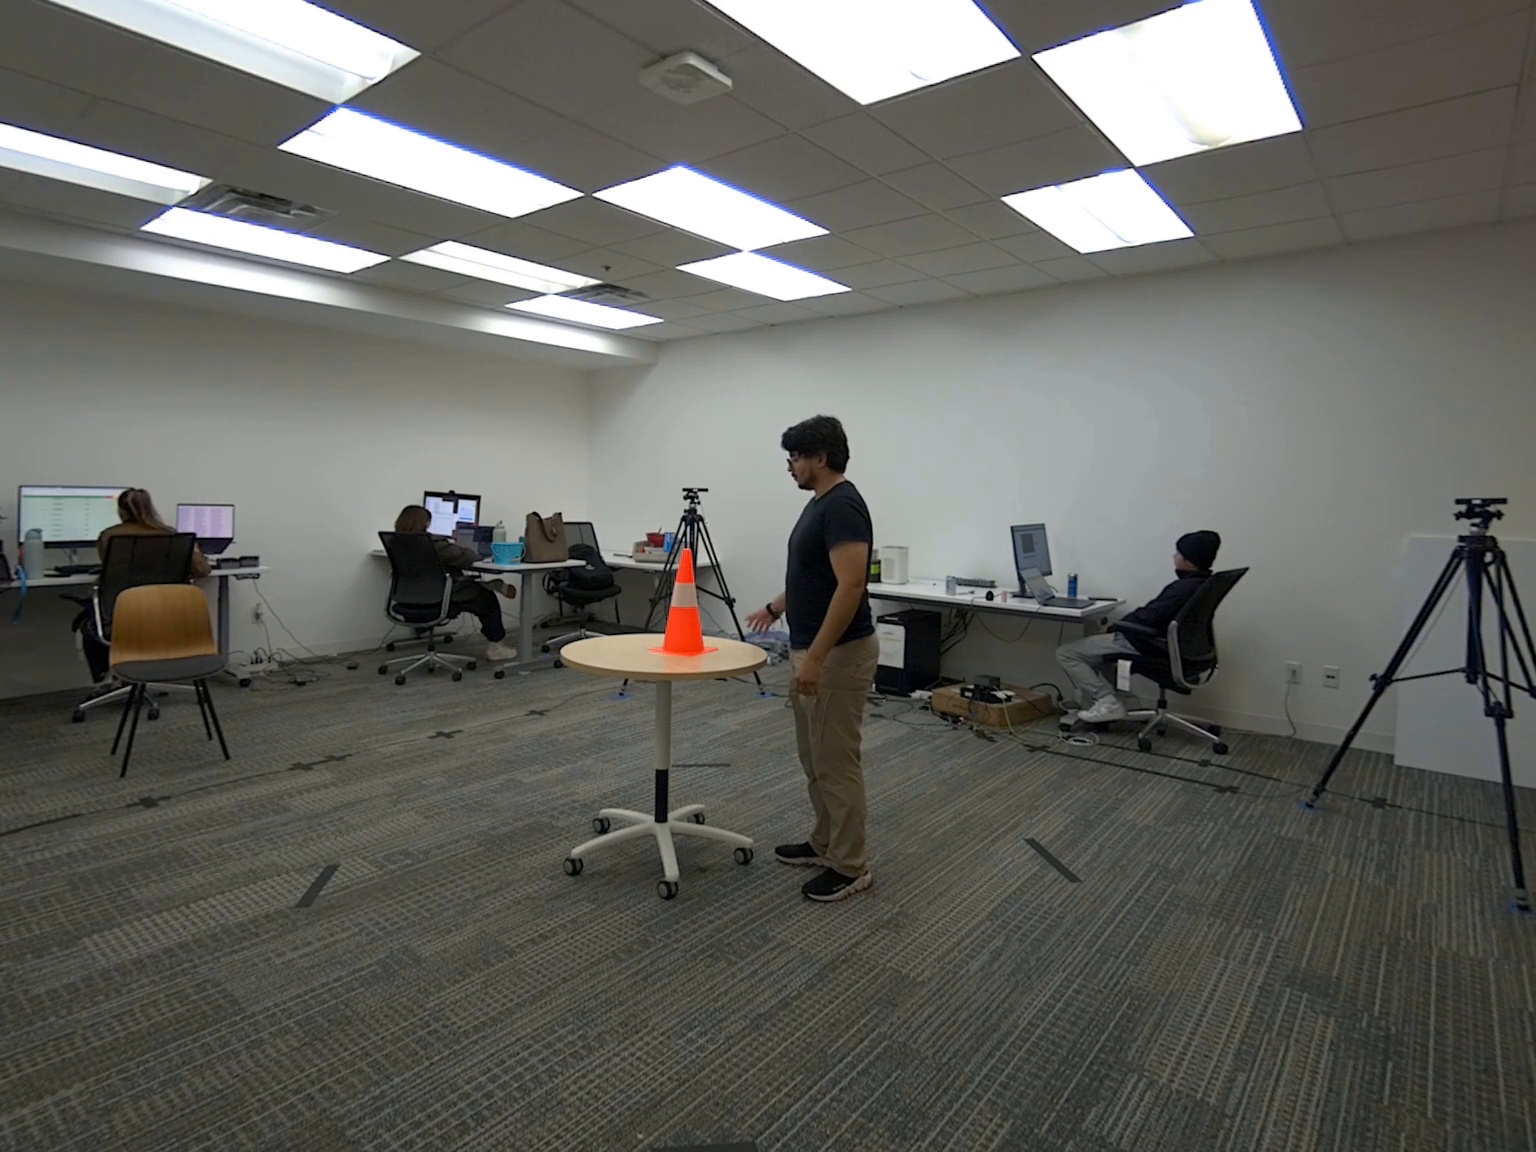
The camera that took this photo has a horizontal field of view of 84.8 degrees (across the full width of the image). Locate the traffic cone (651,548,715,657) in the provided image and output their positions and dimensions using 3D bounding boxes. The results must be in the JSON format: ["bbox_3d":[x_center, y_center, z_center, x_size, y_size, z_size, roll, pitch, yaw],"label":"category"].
[{"bbox_3d":[-0.321,0.089,3.195,0.211,0.383,0.198,4,3,32],"label":"traffic cone"}]
